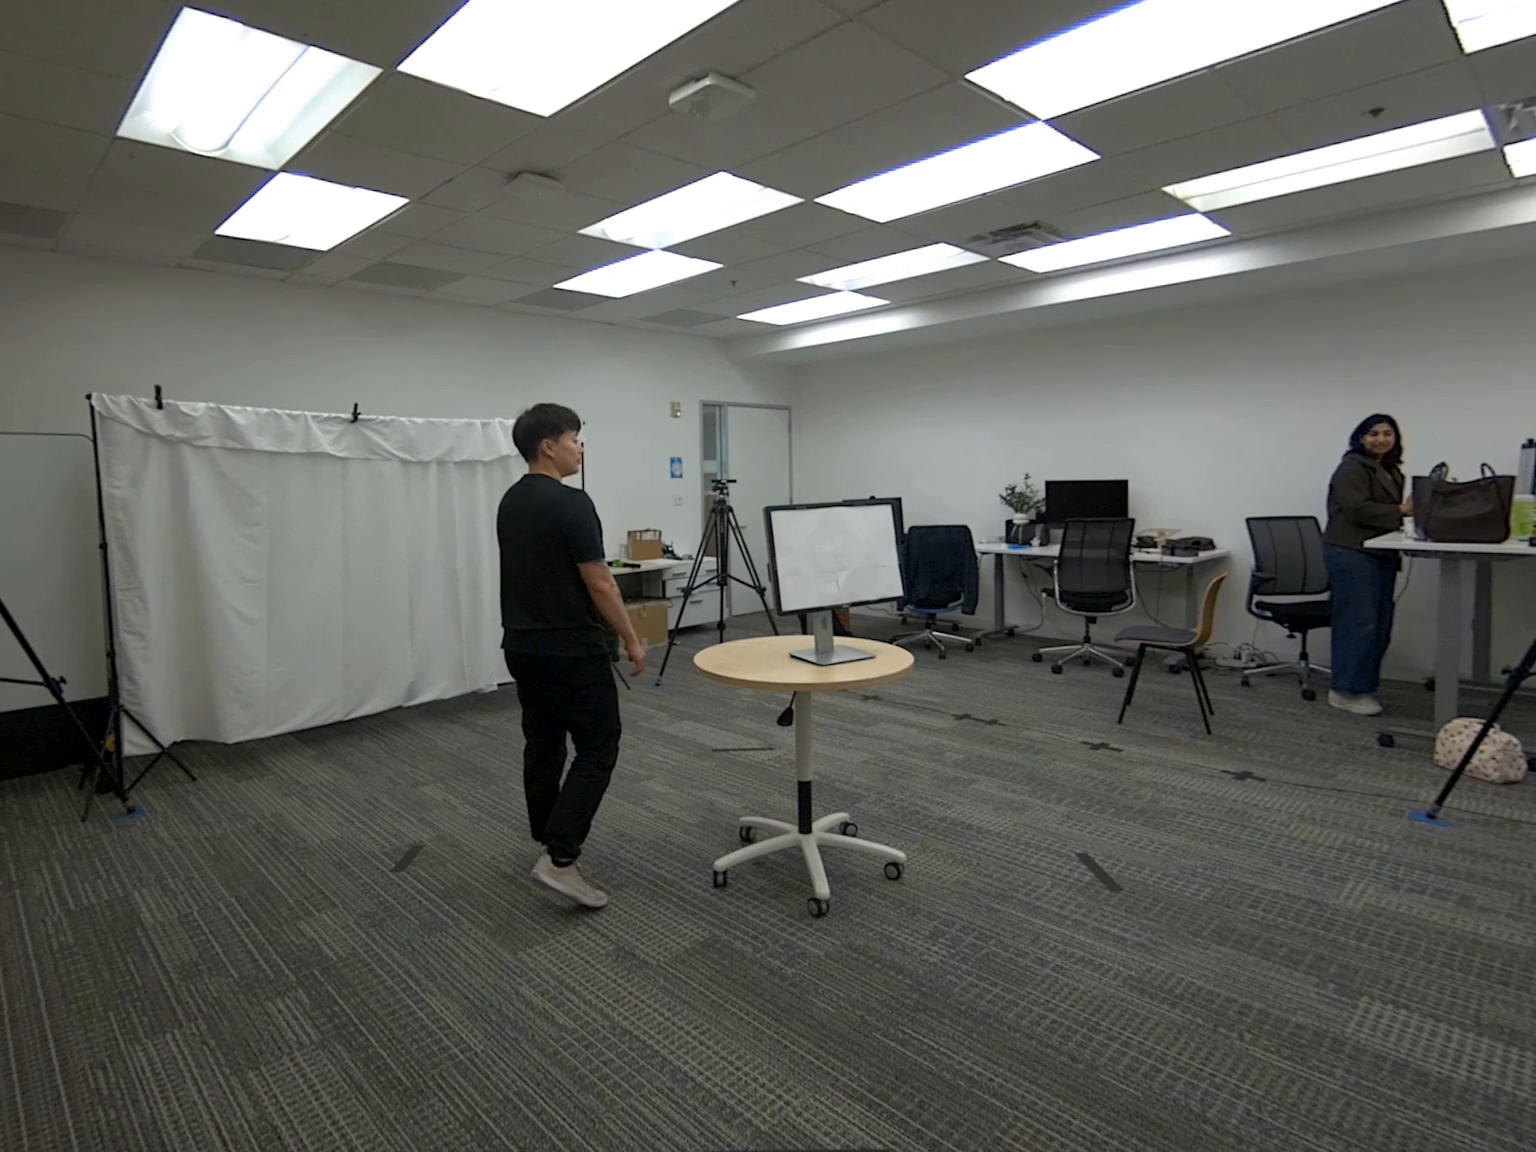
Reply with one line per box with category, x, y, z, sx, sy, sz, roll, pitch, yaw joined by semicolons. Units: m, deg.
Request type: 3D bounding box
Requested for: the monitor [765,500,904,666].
monitor;0.222;0.021;2.963;0.526;0.520;0.192;-5;7;-33
